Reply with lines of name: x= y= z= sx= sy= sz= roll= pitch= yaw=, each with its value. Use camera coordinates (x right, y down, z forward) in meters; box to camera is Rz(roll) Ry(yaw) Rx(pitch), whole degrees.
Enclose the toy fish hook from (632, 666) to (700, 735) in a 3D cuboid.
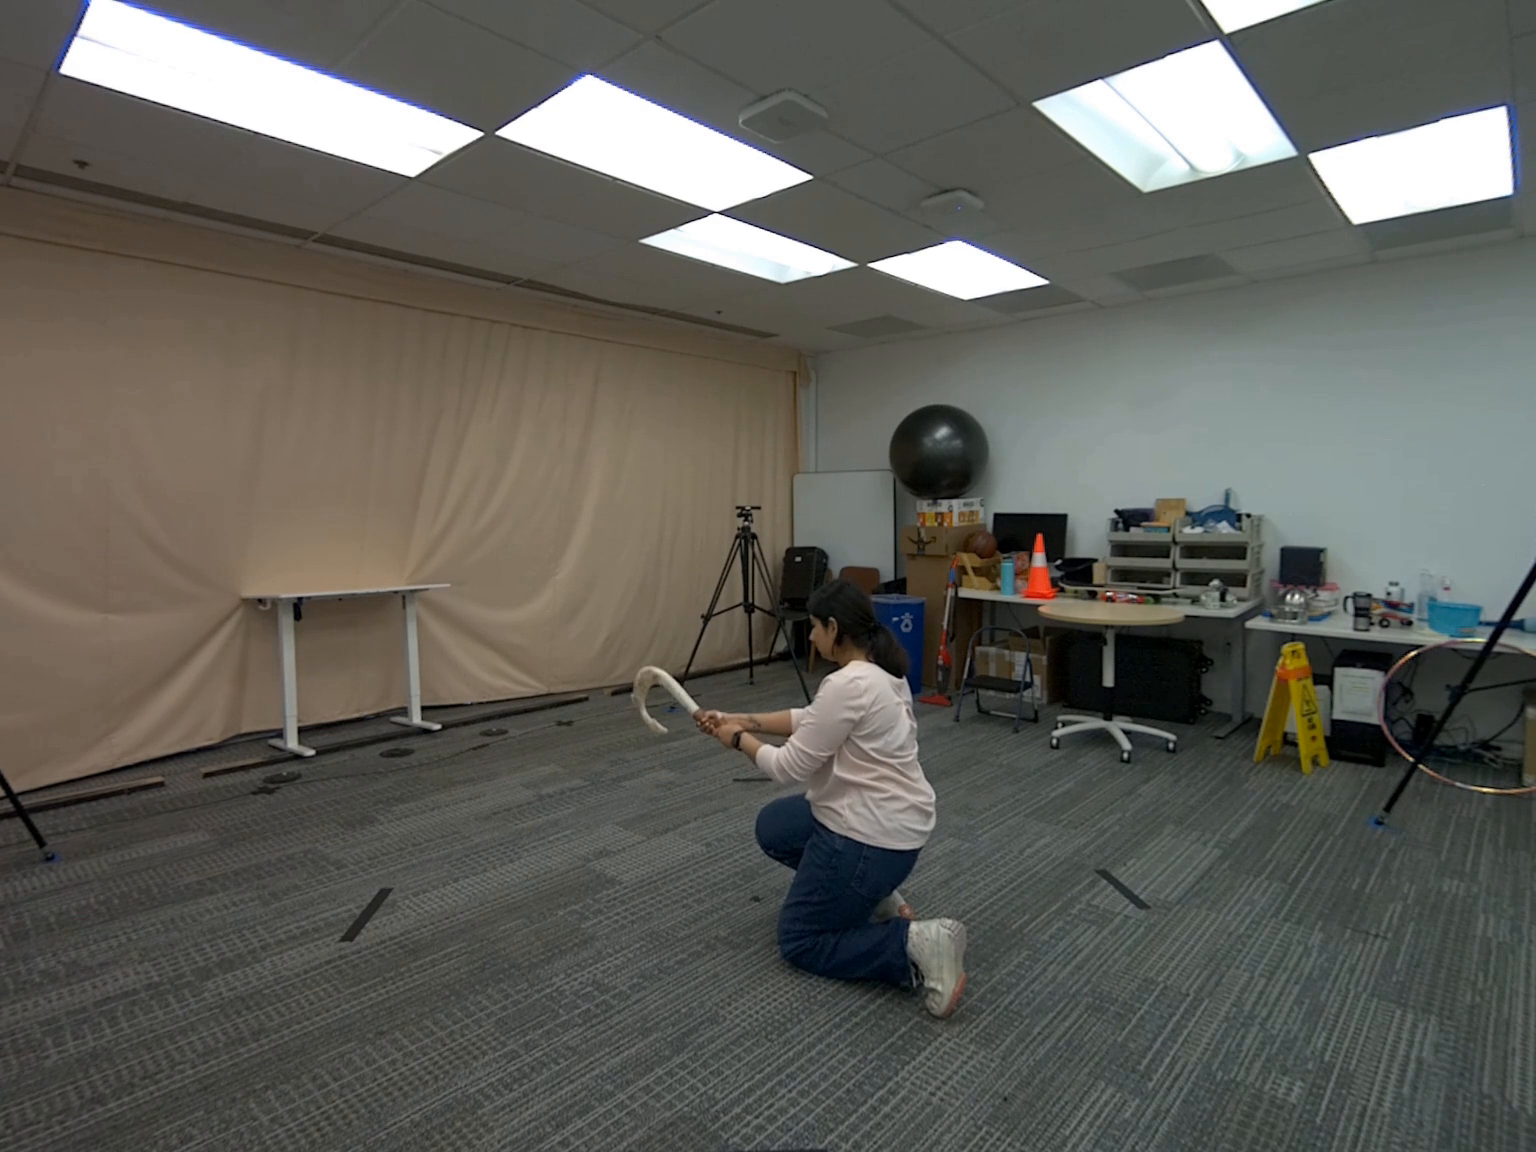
toy fish hook: x=-0.277 y=0.480 z=2.901 sx=0.525 sy=0.223 sz=0.047 roll=27 pitch=22 yaw=35
